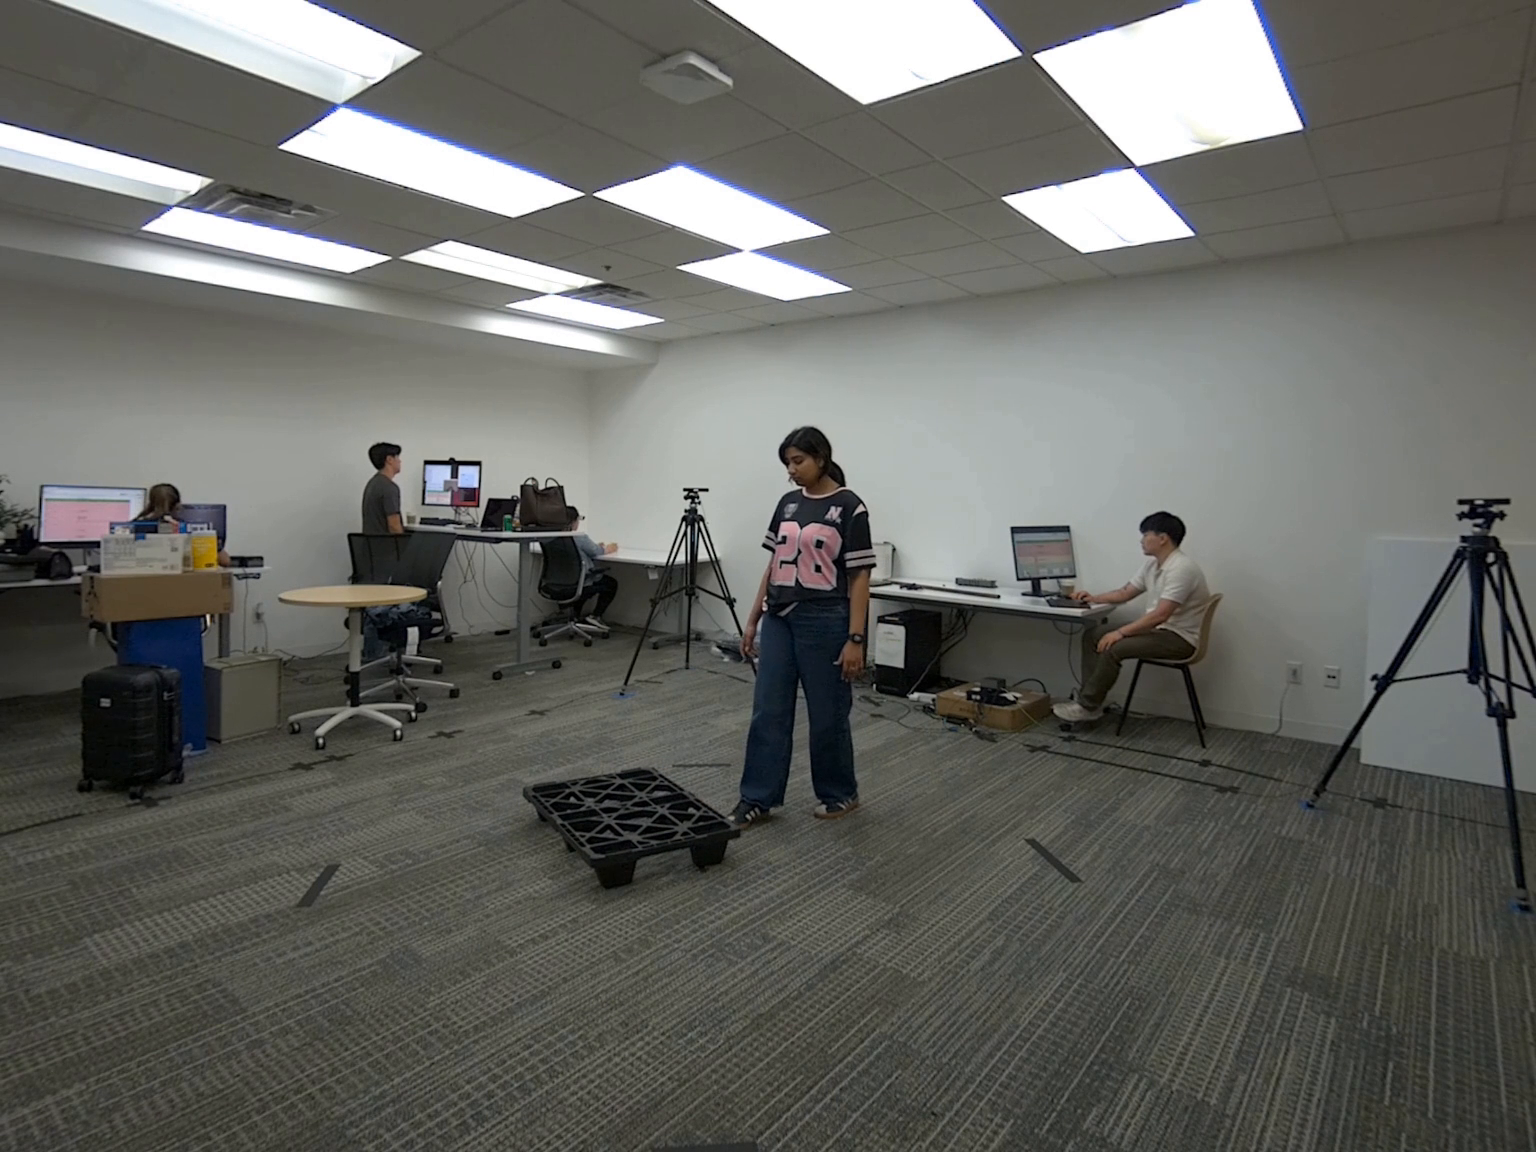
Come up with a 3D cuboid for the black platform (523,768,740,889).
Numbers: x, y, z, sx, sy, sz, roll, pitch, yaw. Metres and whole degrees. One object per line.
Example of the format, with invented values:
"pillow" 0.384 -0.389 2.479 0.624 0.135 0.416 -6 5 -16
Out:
"black platform" -0.578 0.973 3.356 0.589 0.143 0.831 -3 7 -32
